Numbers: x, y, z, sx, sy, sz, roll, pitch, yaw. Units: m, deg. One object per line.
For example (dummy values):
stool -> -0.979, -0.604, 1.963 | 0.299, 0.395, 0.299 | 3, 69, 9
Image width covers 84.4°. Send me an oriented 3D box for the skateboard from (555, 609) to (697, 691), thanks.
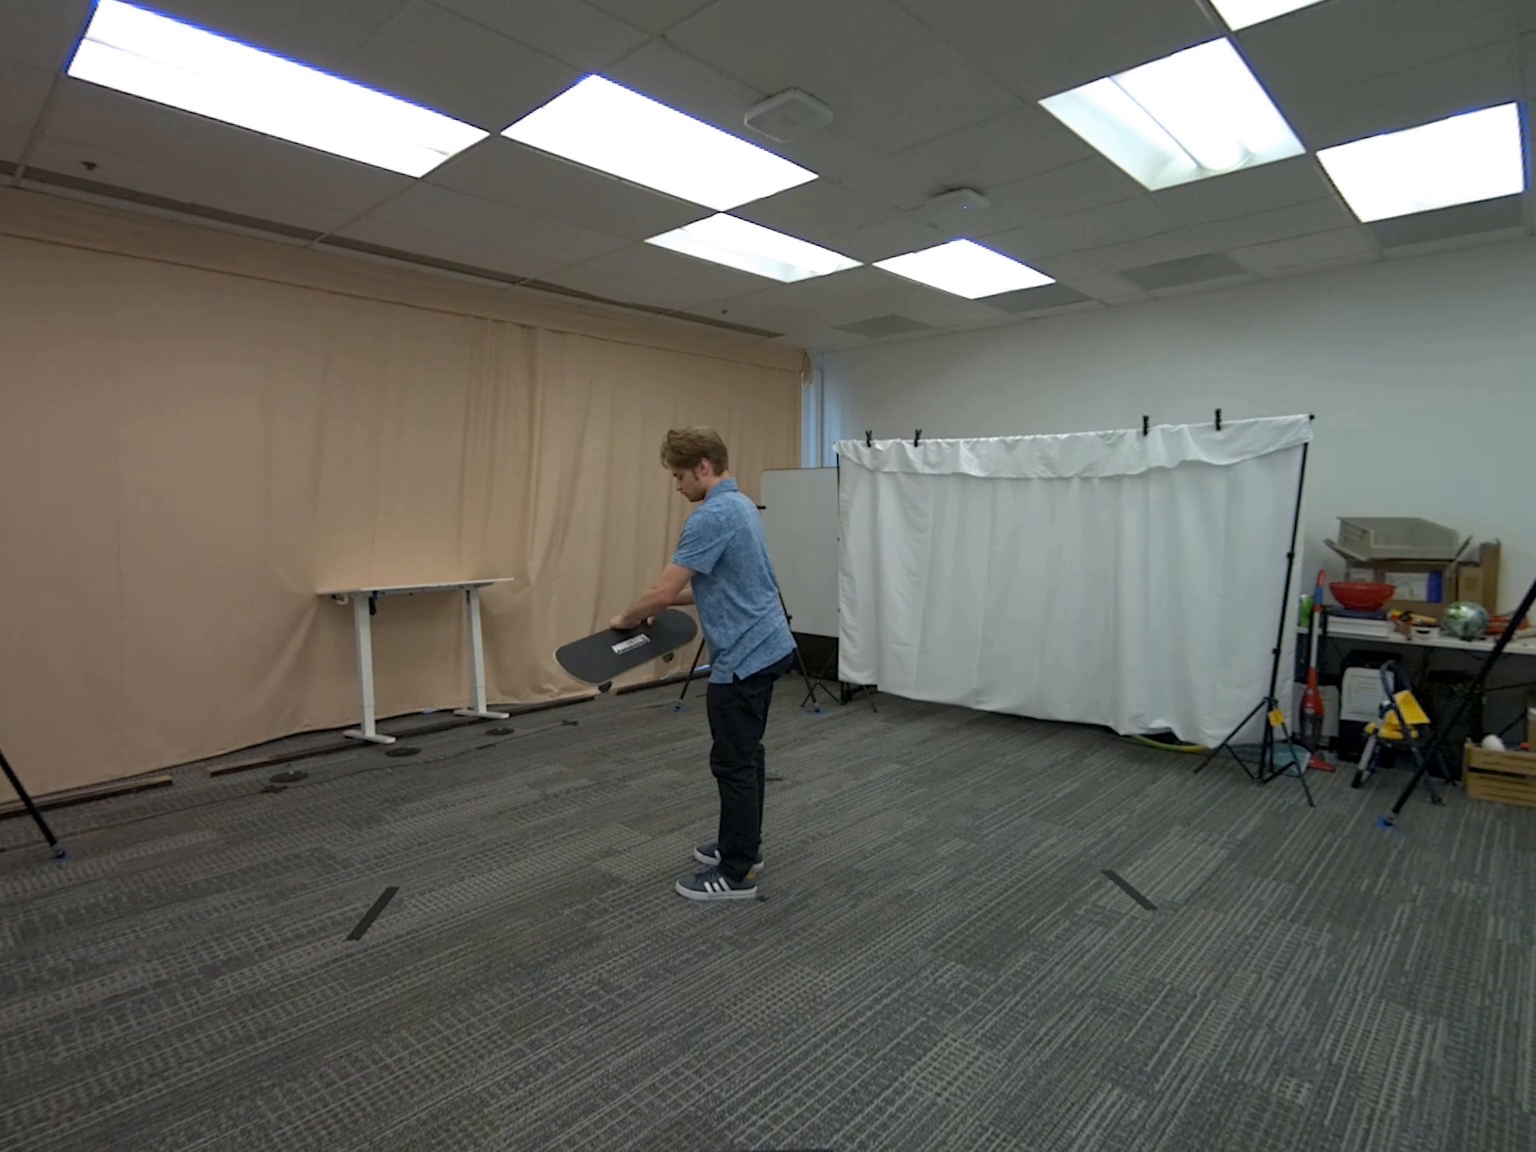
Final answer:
skateboard -> -0.508, 0.282, 3.057 | 0.197, 0.111, 0.768 | 44, 26, 14
